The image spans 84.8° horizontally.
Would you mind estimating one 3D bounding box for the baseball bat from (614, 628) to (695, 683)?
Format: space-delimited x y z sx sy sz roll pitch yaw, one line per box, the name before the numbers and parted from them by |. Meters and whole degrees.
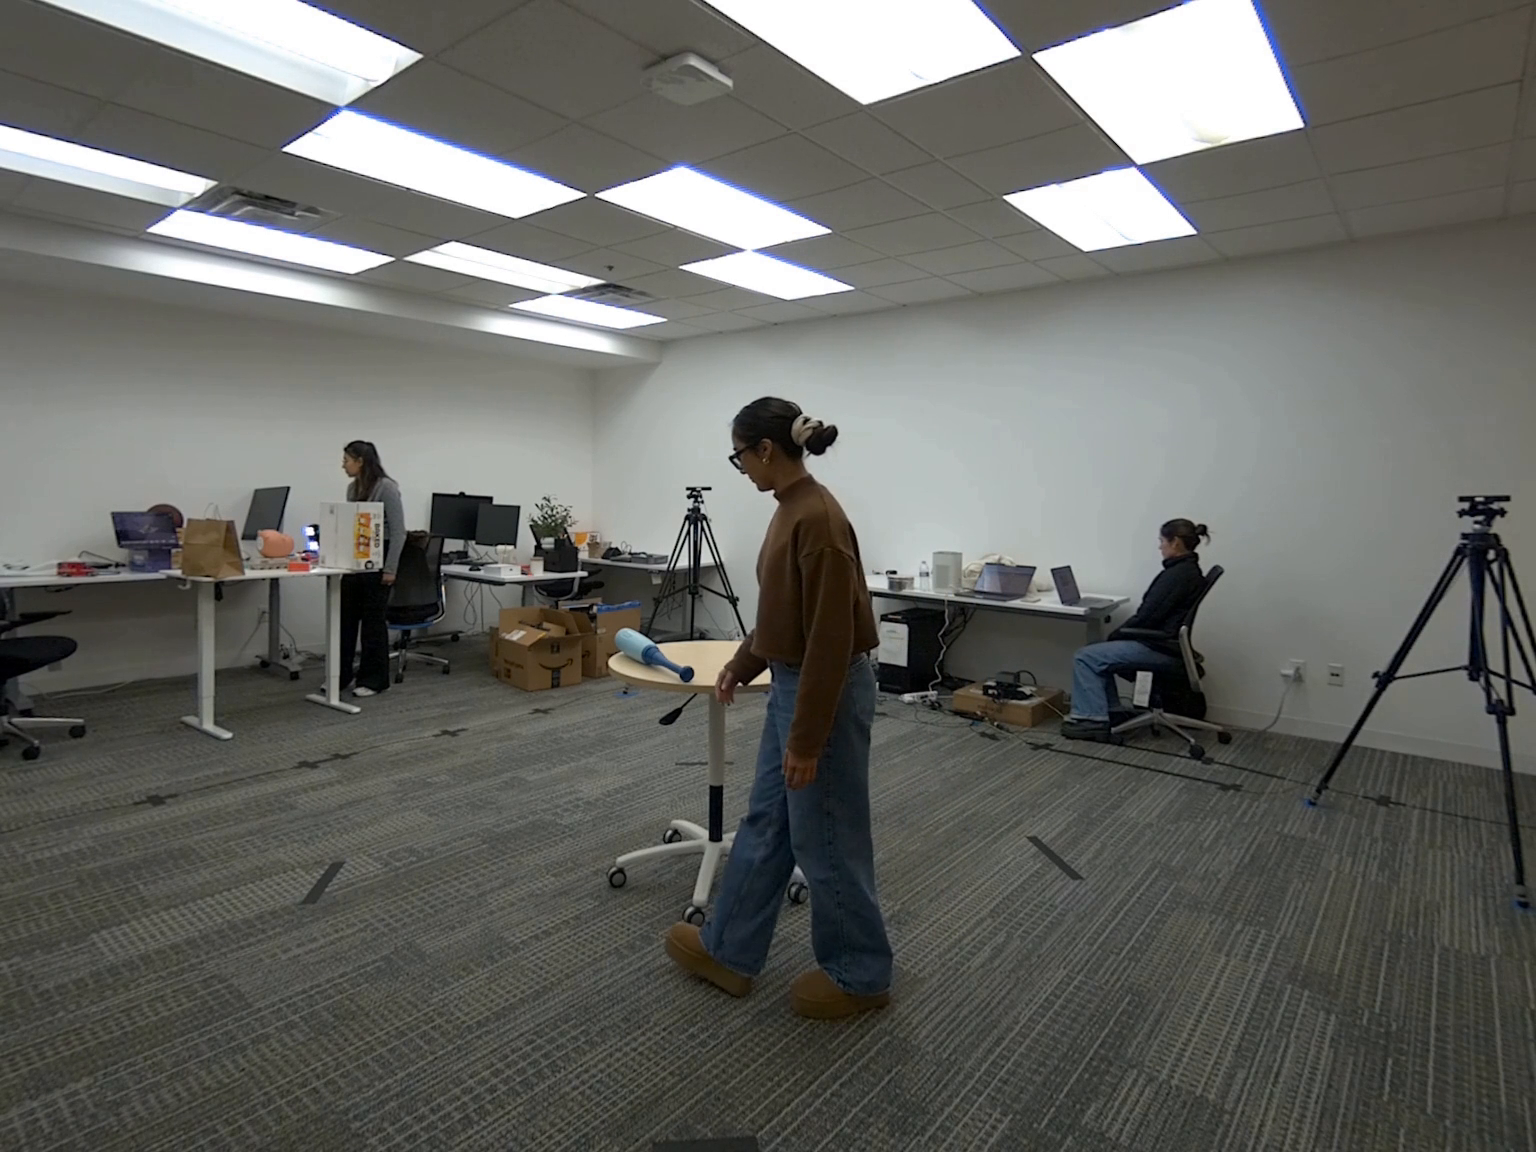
baseball bat | -0.402 0.273 2.870 0.087 0.088 0.561 -2 9 -29
